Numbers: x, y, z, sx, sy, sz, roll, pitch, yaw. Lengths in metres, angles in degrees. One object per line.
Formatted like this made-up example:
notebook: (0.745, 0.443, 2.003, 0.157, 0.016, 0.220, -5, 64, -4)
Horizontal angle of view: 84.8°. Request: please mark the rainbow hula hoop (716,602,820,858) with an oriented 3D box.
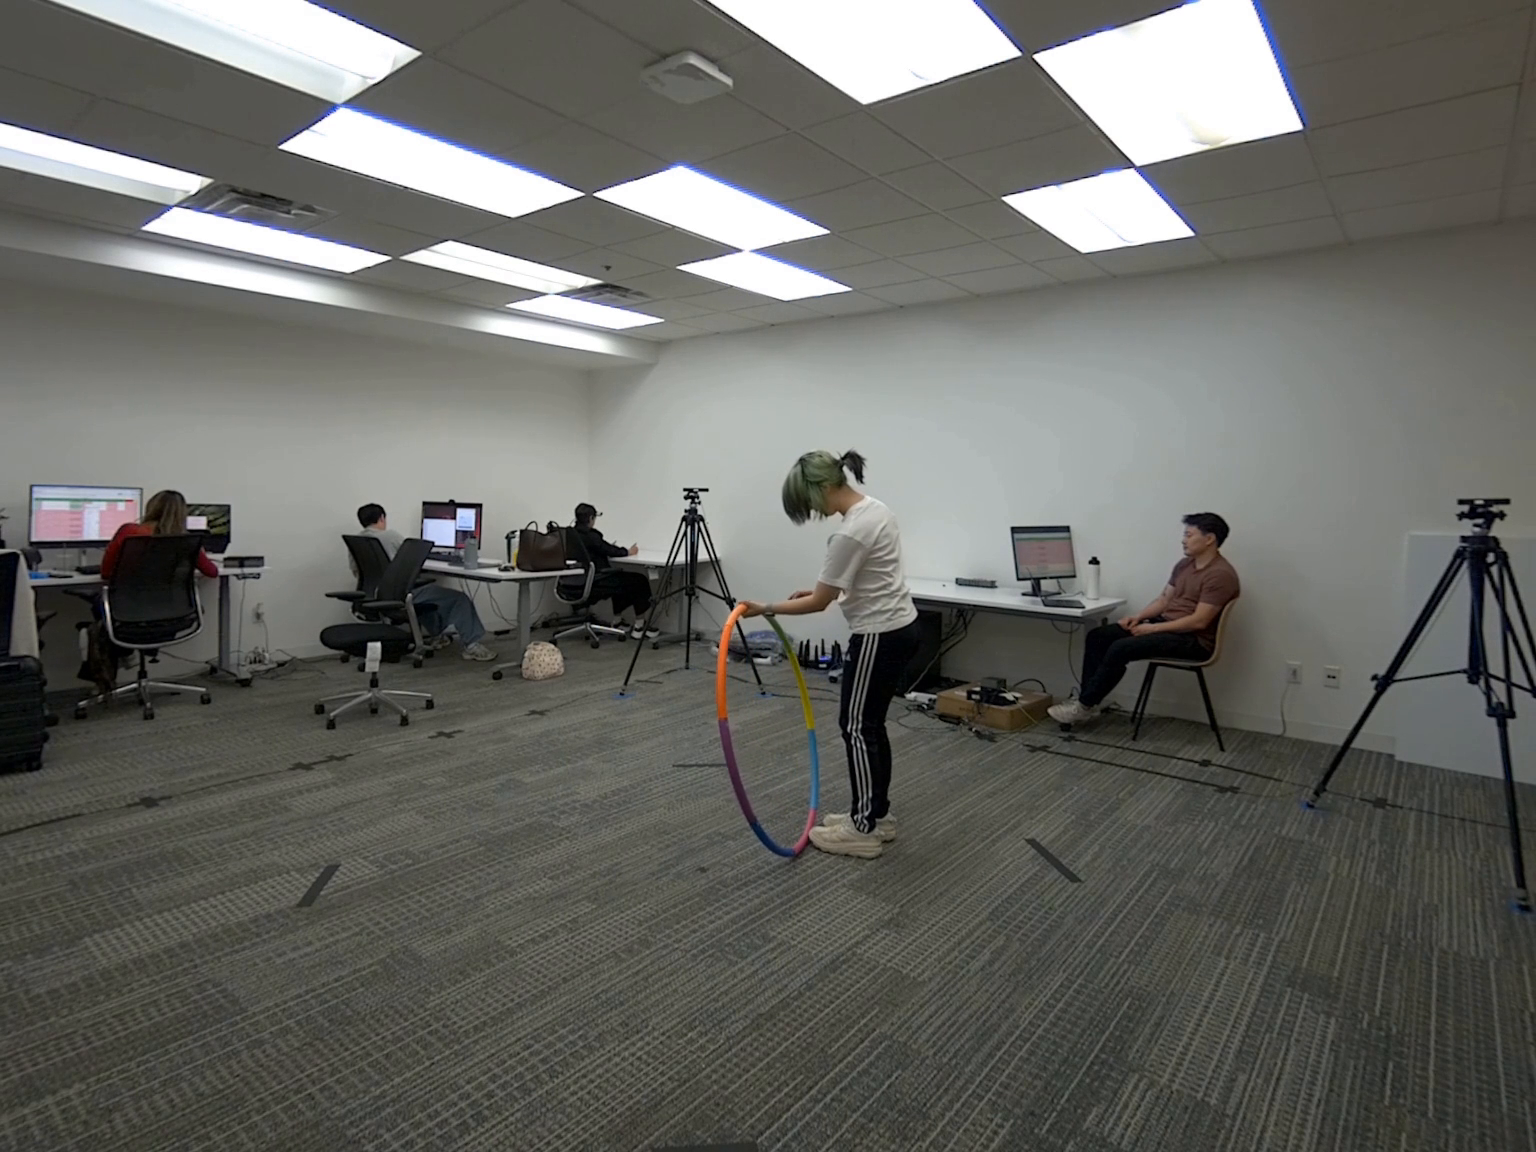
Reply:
rainbow hula hoop: (0.009, 0.583, 3.337, 0.036, 0.982, 0.961, -16, -2, 19)
